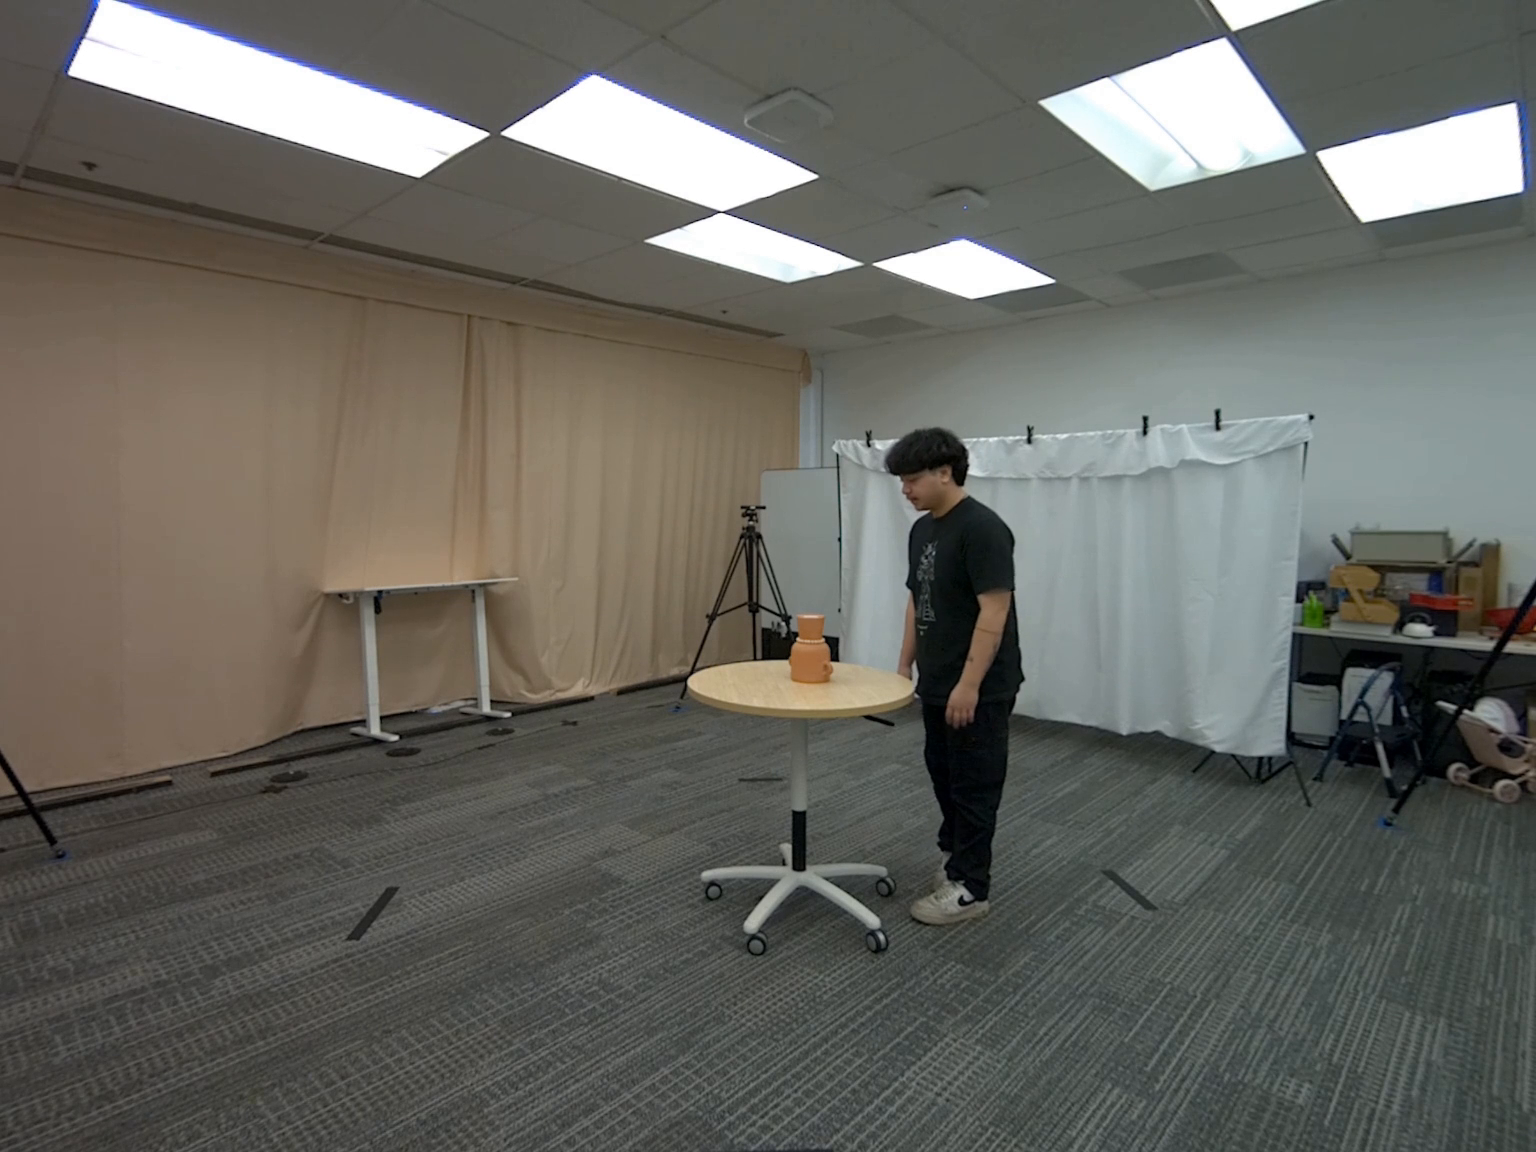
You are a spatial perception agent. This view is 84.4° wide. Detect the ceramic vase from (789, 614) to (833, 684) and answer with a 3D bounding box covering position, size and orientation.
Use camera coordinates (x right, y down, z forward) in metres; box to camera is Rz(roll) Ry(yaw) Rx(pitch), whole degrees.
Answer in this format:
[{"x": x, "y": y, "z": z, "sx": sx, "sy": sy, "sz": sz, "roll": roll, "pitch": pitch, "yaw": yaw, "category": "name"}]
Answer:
[{"x": 0.153, "y": 0.248, "z": 2.900, "sx": 0.160, "sy": 0.219, "sz": 0.134, "roll": 0, "pitch": 4, "yaw": 7, "category": "ceramic vase"}]
